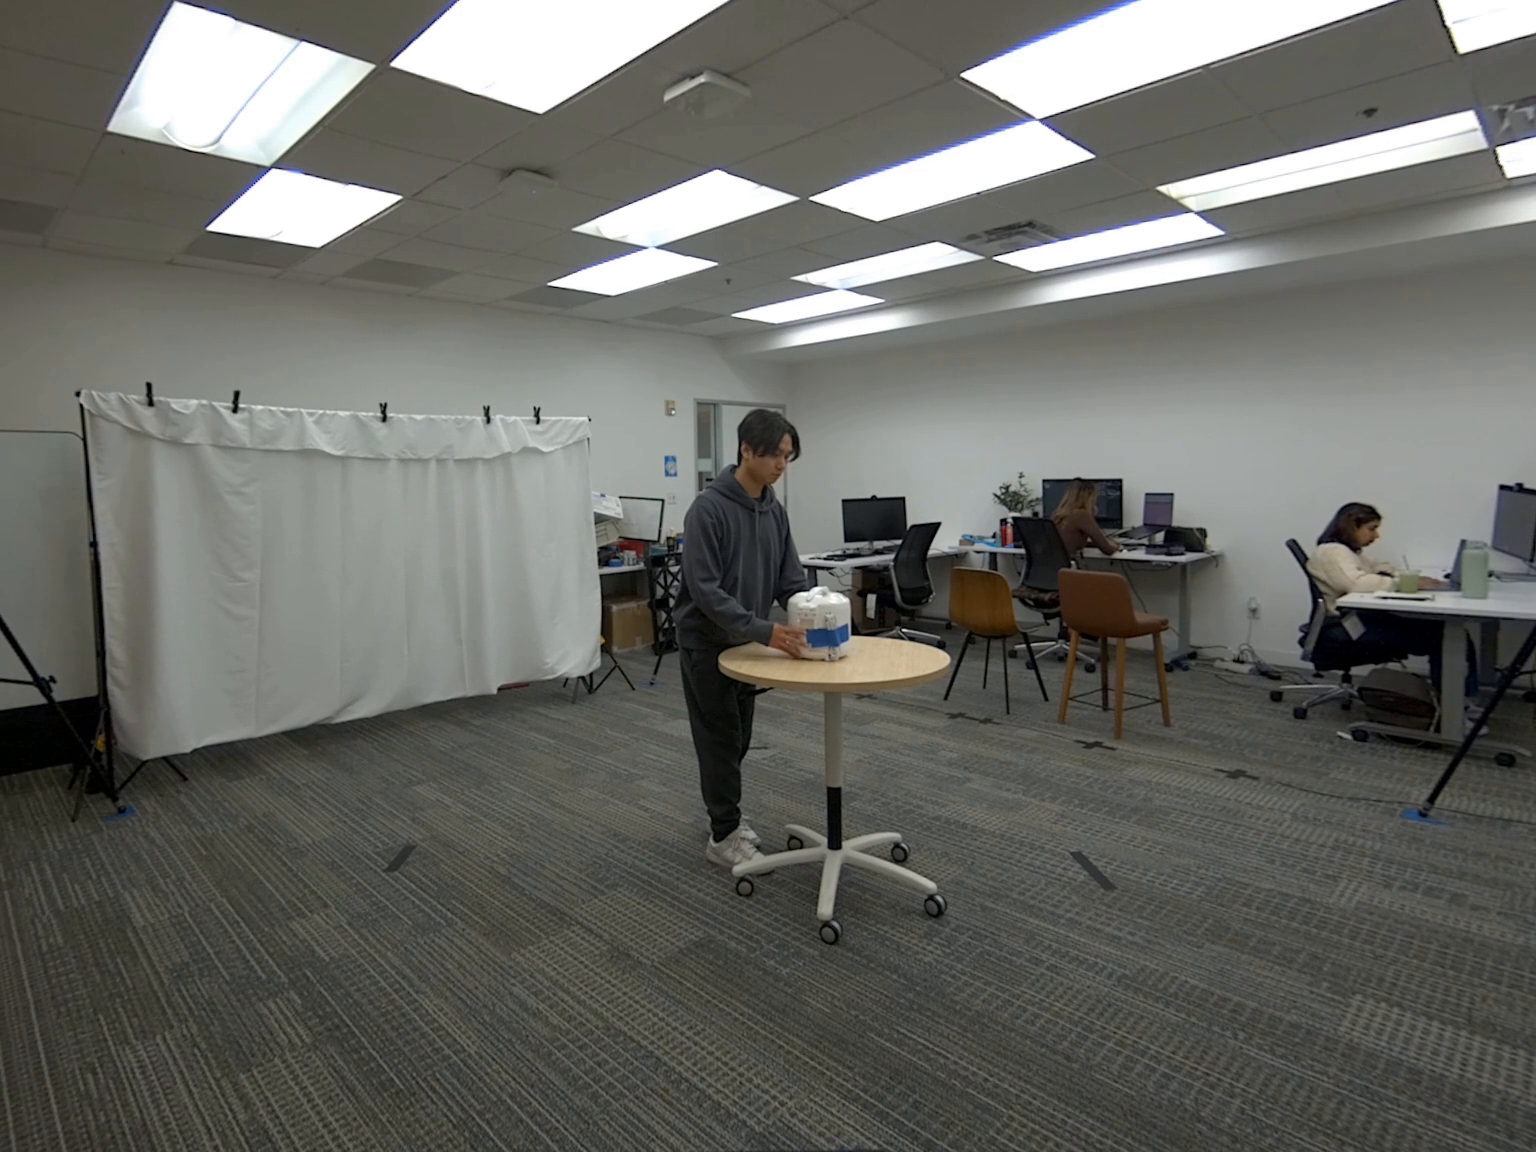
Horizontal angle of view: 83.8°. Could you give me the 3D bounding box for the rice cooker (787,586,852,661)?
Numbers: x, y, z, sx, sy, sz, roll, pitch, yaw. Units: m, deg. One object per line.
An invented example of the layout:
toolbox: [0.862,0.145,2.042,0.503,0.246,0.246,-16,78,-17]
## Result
rice cooker: [0.169,0.154,2.864,0.222,0.232,0.216,1,5,26]
